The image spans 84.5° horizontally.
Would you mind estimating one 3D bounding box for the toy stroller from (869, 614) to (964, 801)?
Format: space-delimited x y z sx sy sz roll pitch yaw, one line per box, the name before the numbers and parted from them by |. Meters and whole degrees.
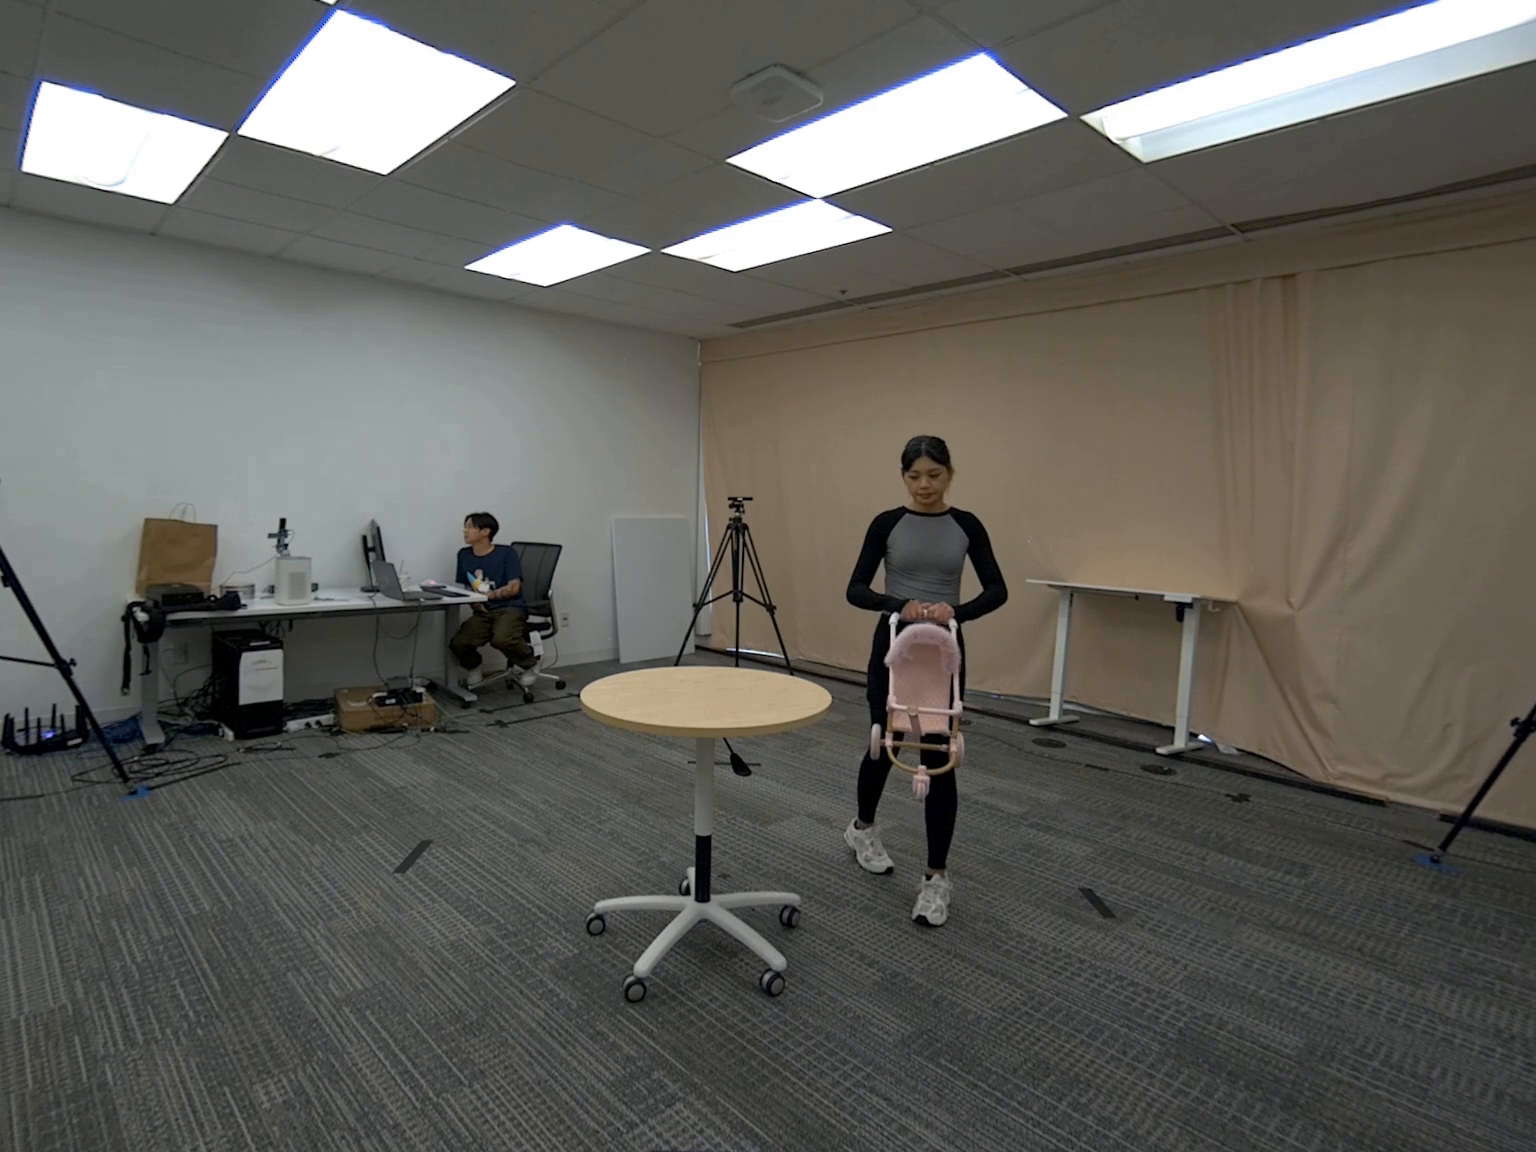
toy stroller | 0.455 0.379 2.515 0.284 0.535 0.338 4 0 11
